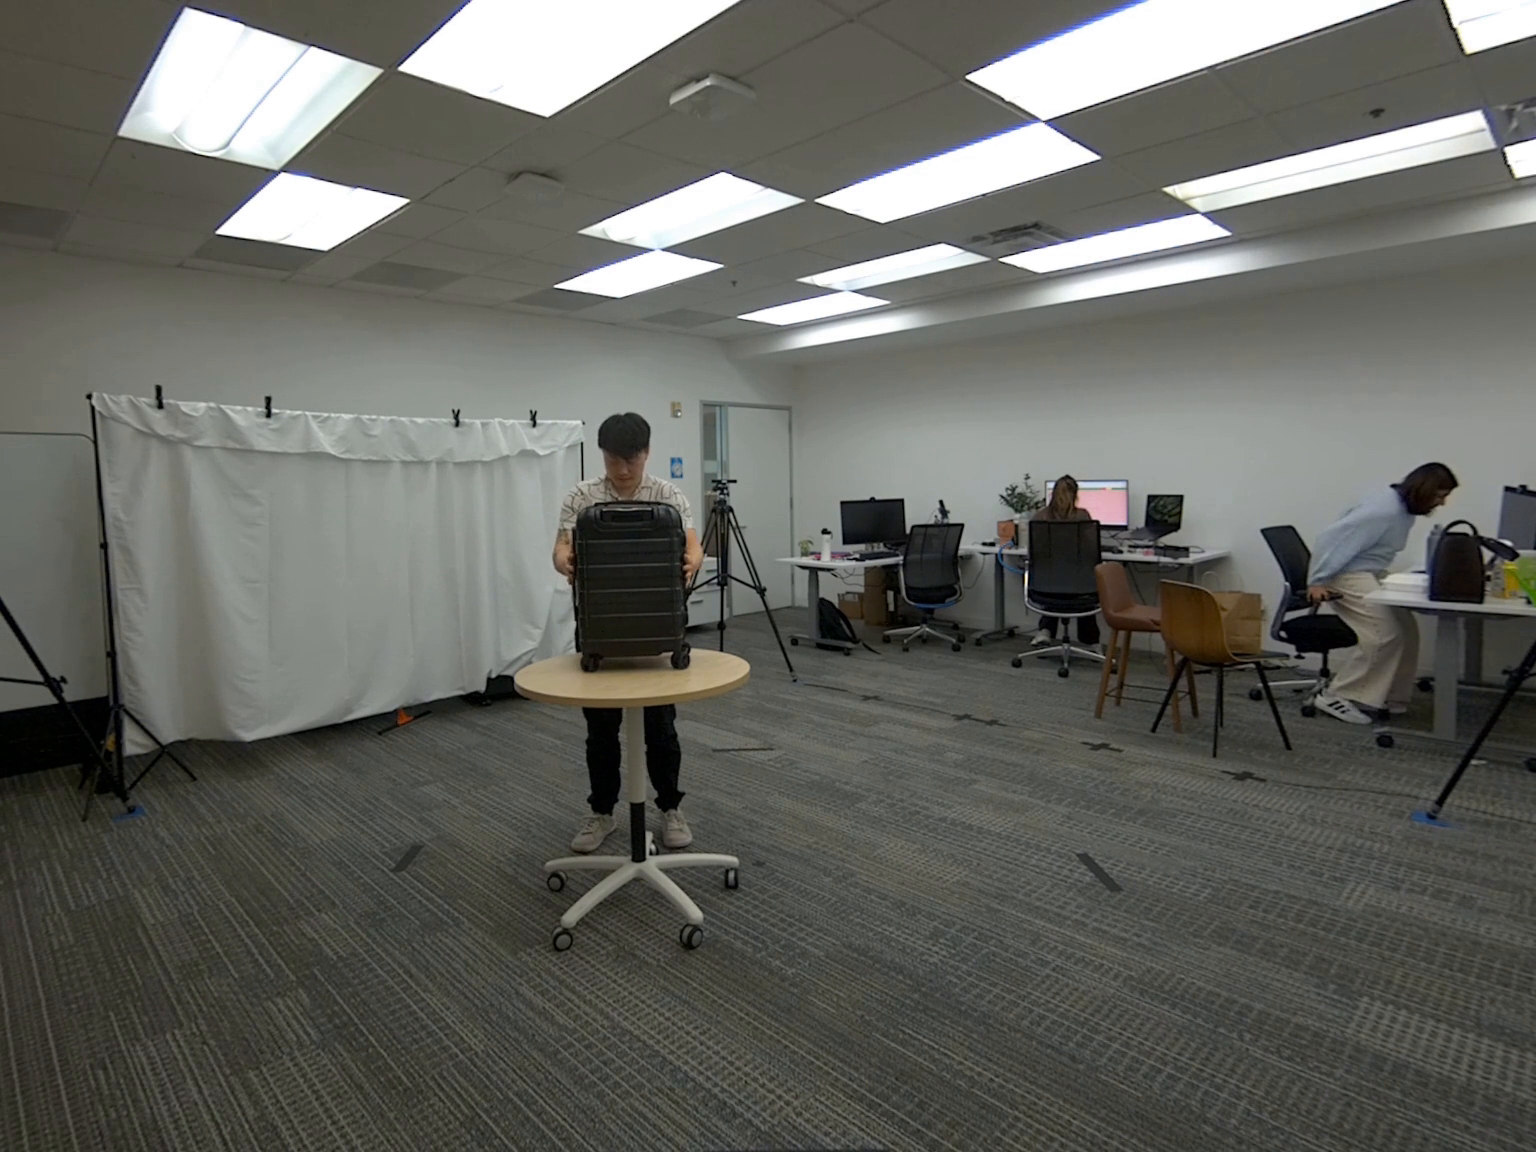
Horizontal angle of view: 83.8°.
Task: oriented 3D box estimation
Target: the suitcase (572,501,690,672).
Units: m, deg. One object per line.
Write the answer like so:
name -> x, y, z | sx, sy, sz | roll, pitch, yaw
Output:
suitcase -> -0.469, 0.023, 2.879 | 0.375, 0.547, 0.249 | -3, 4, -2
